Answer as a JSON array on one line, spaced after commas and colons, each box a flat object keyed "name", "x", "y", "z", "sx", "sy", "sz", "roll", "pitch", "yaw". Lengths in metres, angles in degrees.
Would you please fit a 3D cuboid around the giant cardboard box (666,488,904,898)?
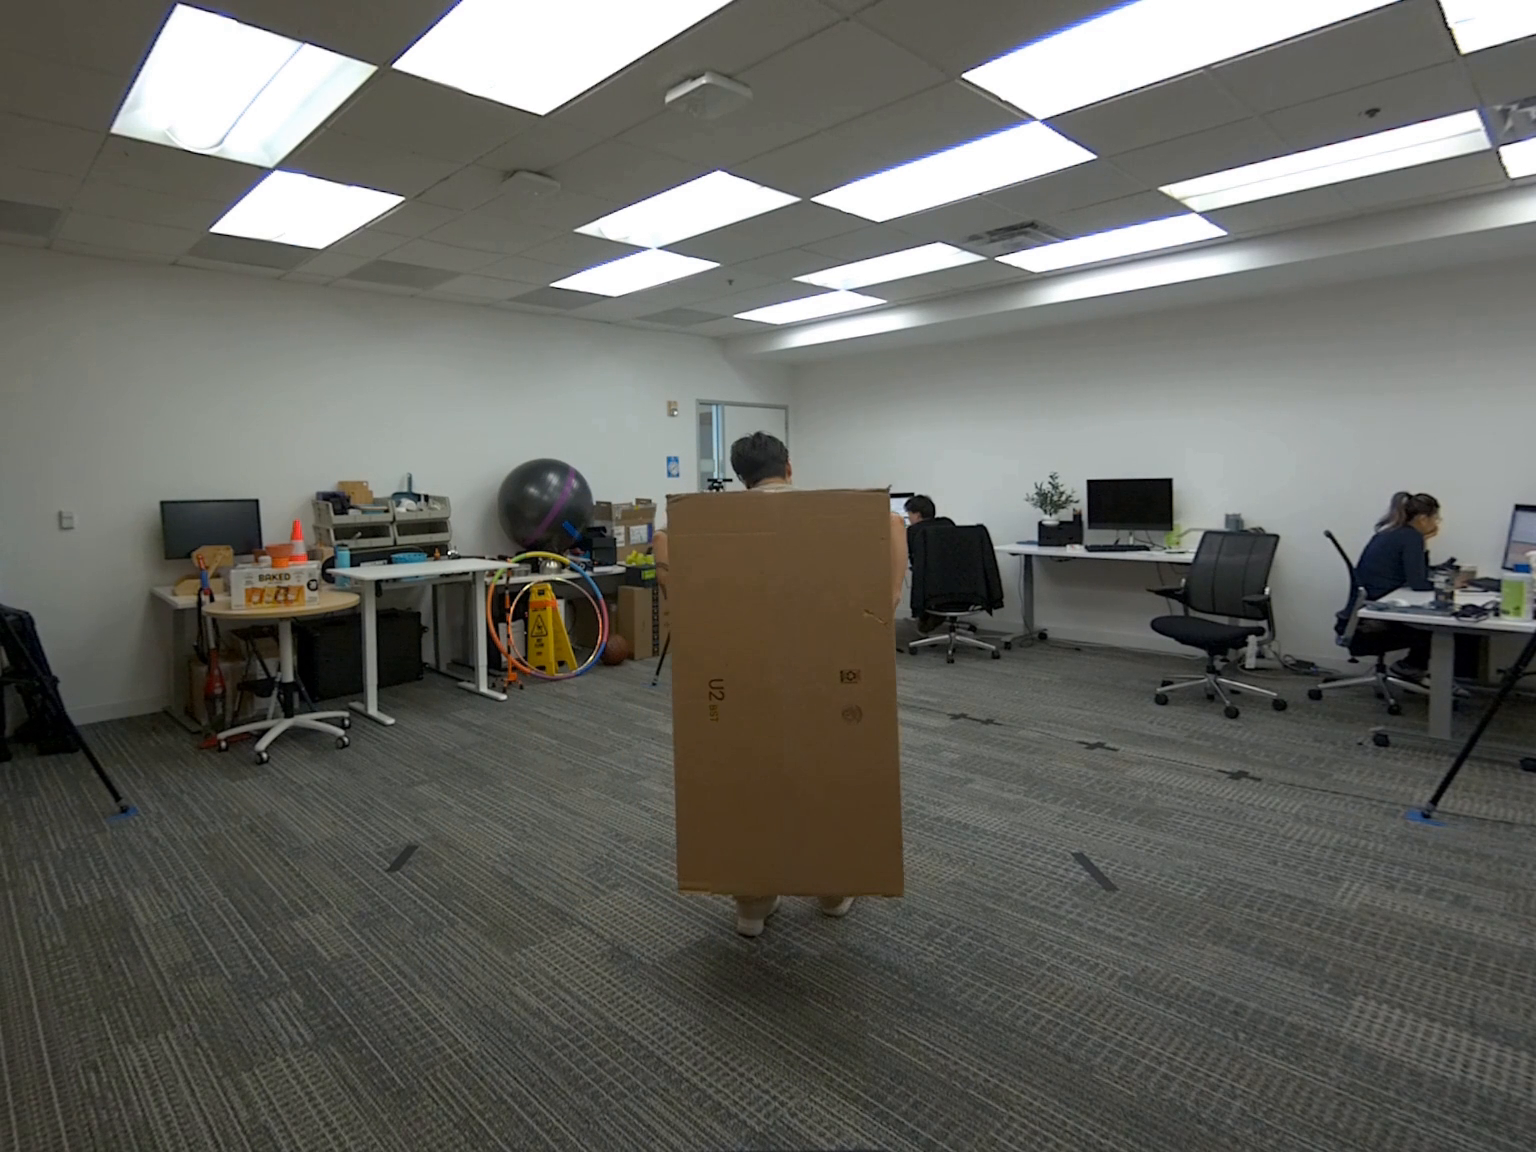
[{"name": "giant cardboard box", "x": 0.052, "y": 0.293, "z": 2.347, "sx": 0.580, "sy": 1.027, "sz": 0.424, "roll": -2, "pitch": -1, "yaw": 4}]
